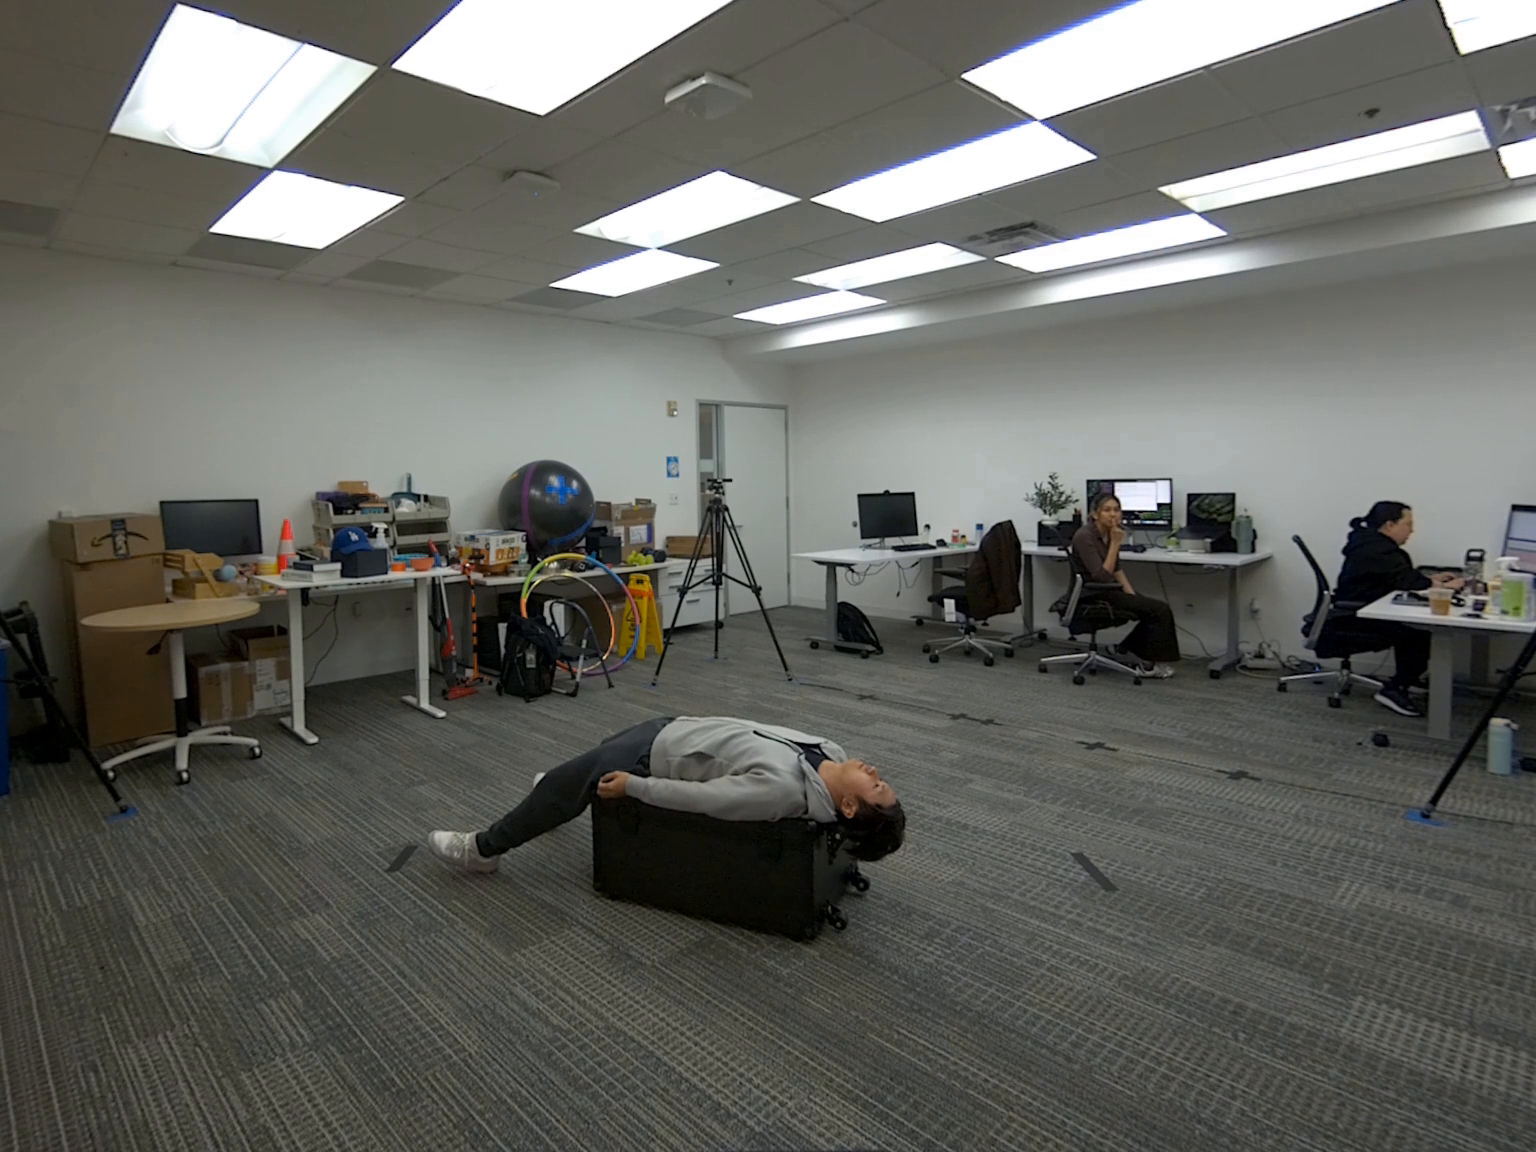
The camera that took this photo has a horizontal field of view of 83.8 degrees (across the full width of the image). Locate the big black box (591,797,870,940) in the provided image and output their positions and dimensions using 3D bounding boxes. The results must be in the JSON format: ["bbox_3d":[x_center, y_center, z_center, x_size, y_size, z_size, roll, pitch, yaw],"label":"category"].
[{"bbox_3d":[-0.164,0.883,2.933,0.881,0.395,0.511,2,6,24],"label":"big black box"}]
